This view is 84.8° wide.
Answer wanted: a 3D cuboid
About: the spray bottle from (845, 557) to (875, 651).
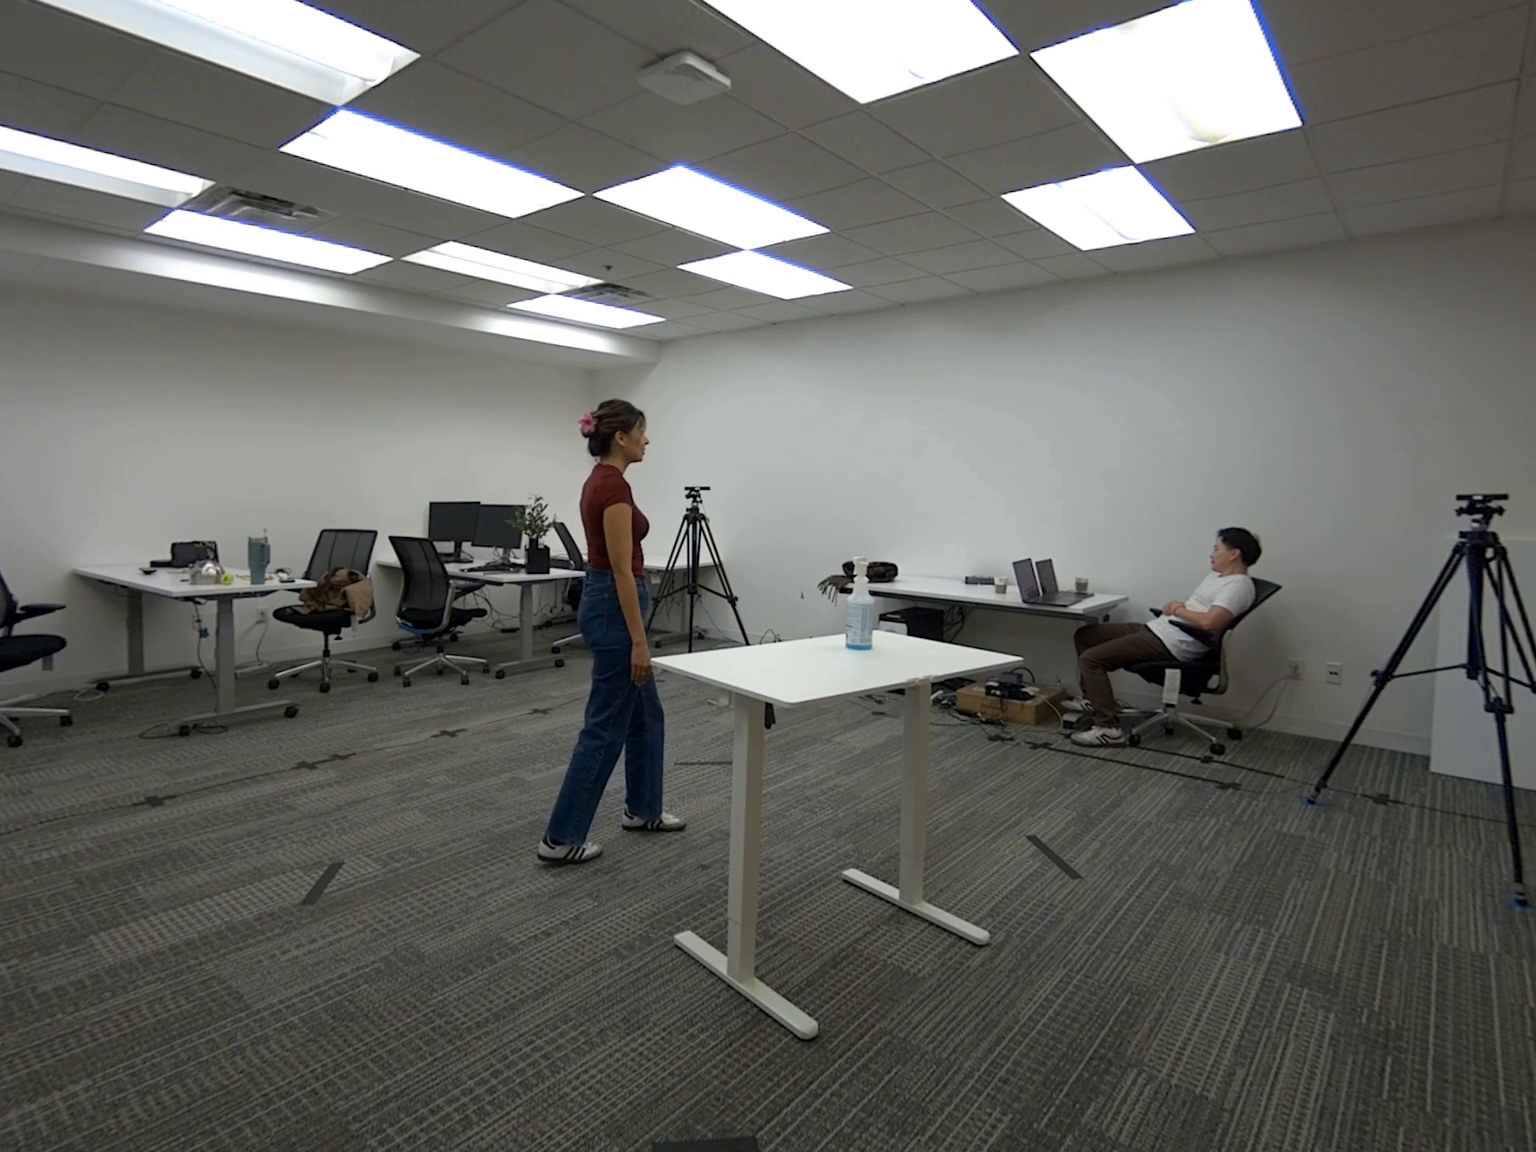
[{"bbox_3d":[0.288,0.085,2.739,0.087,0.296,0.089,0,3,-30],"label":"spray bottle"}]
